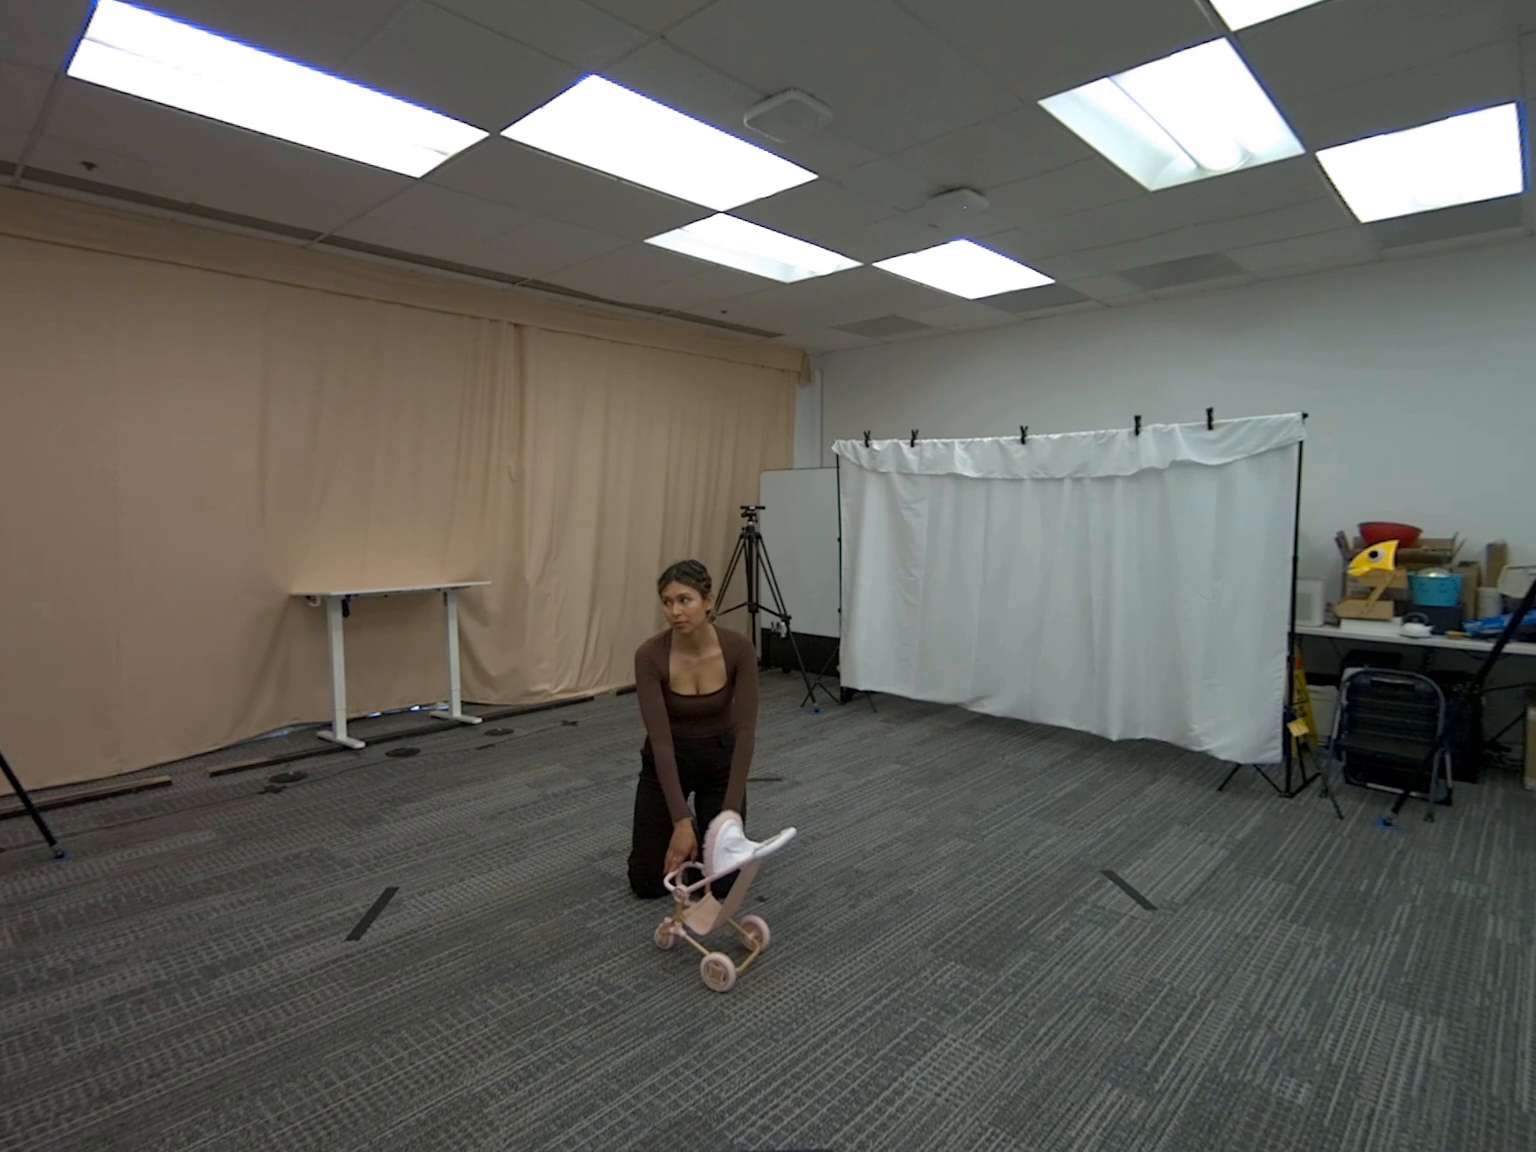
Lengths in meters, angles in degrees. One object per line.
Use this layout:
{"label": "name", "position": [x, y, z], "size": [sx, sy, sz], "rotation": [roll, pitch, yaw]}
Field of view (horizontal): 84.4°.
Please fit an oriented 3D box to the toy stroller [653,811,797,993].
{"label": "toy stroller", "position": [-0.152, 0.952, 2.558], "size": [0.352, 0.533, 0.274], "rotation": [19, 11, 29]}
